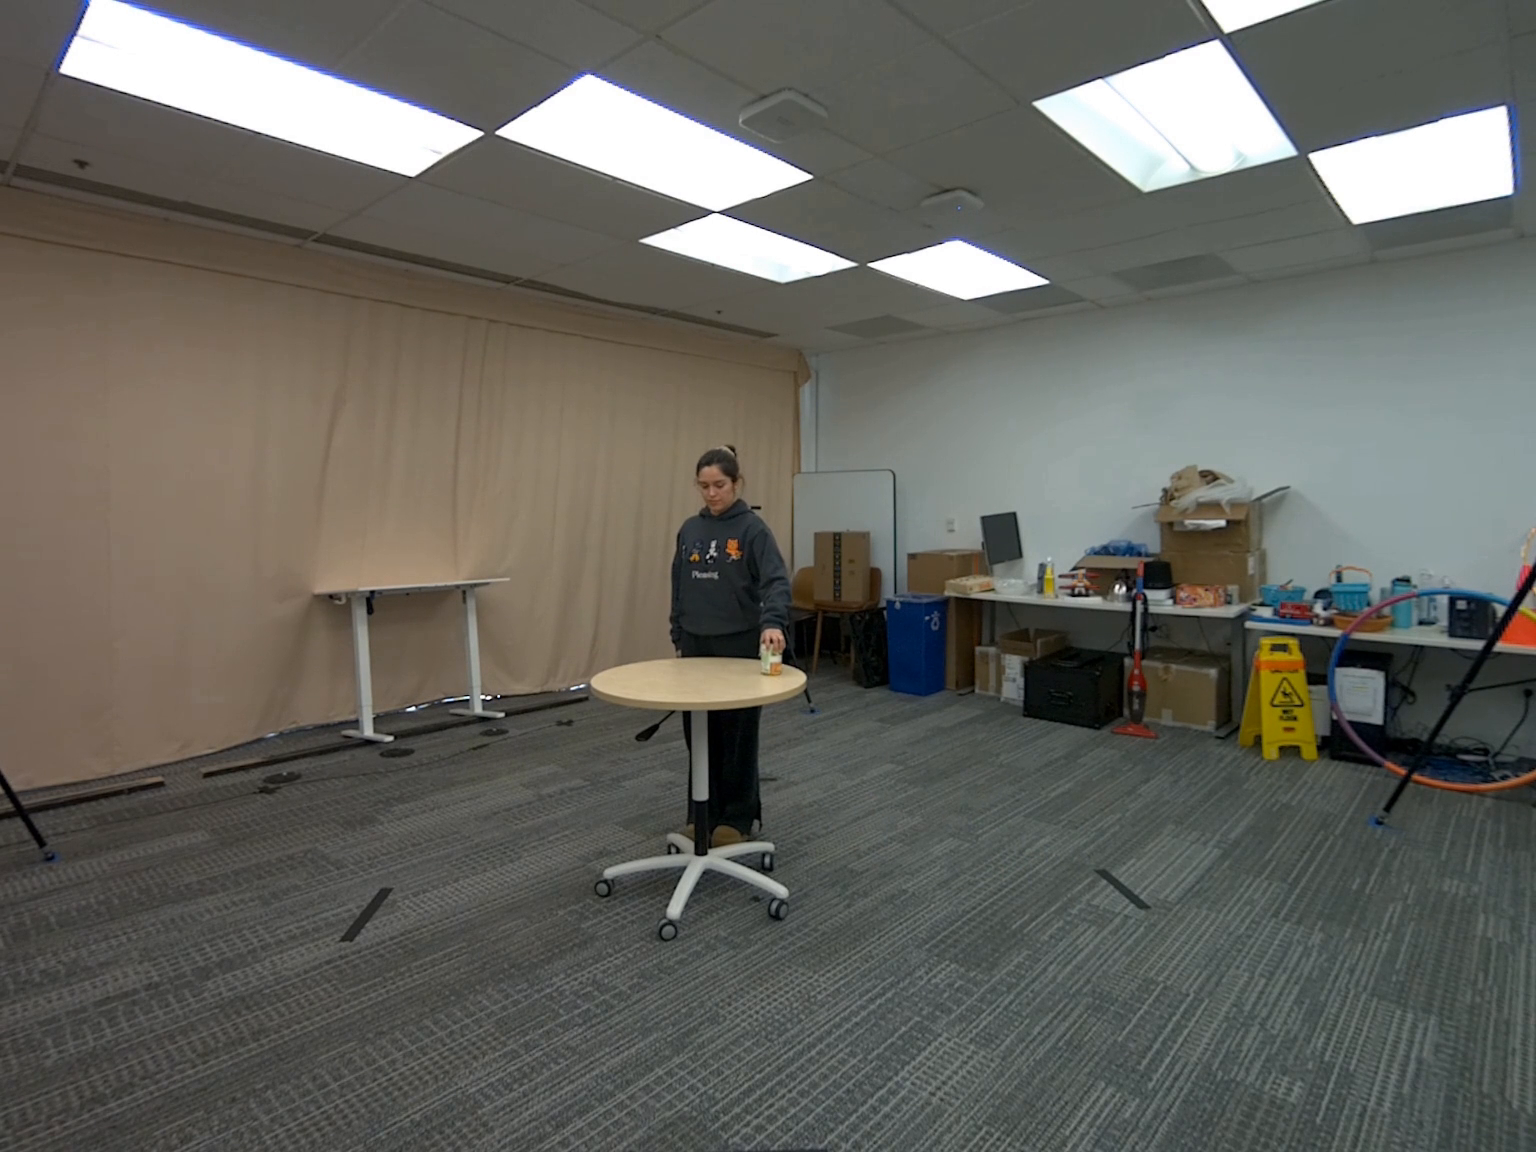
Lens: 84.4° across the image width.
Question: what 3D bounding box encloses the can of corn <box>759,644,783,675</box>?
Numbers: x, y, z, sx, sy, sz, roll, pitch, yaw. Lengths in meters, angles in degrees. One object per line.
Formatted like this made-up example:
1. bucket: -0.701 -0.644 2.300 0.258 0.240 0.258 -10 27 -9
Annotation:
1. can of corn: 0.033 0.284 3.046 0.074 0.111 0.074 1 -2 -2
